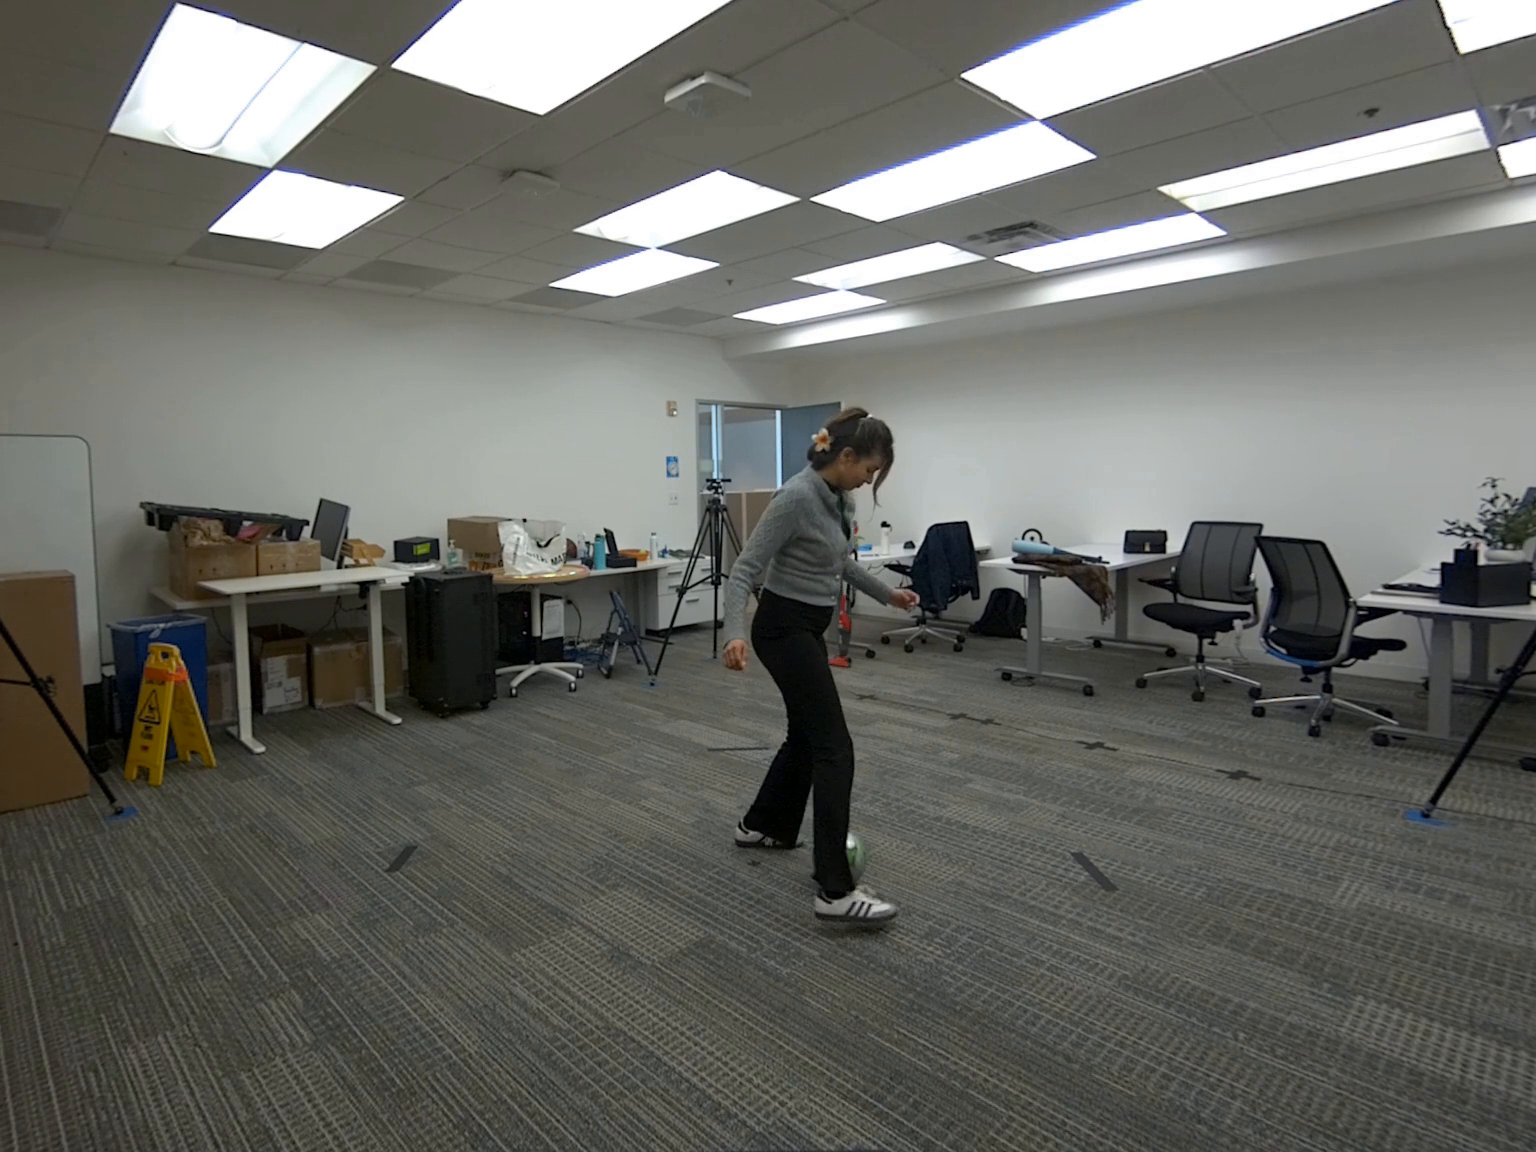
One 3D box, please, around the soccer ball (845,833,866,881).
[{"bbox_3d":[0.250,0.965,2.932,0.187,0.187,0.188,-1,5,-2],"label":"soccer ball"}]
